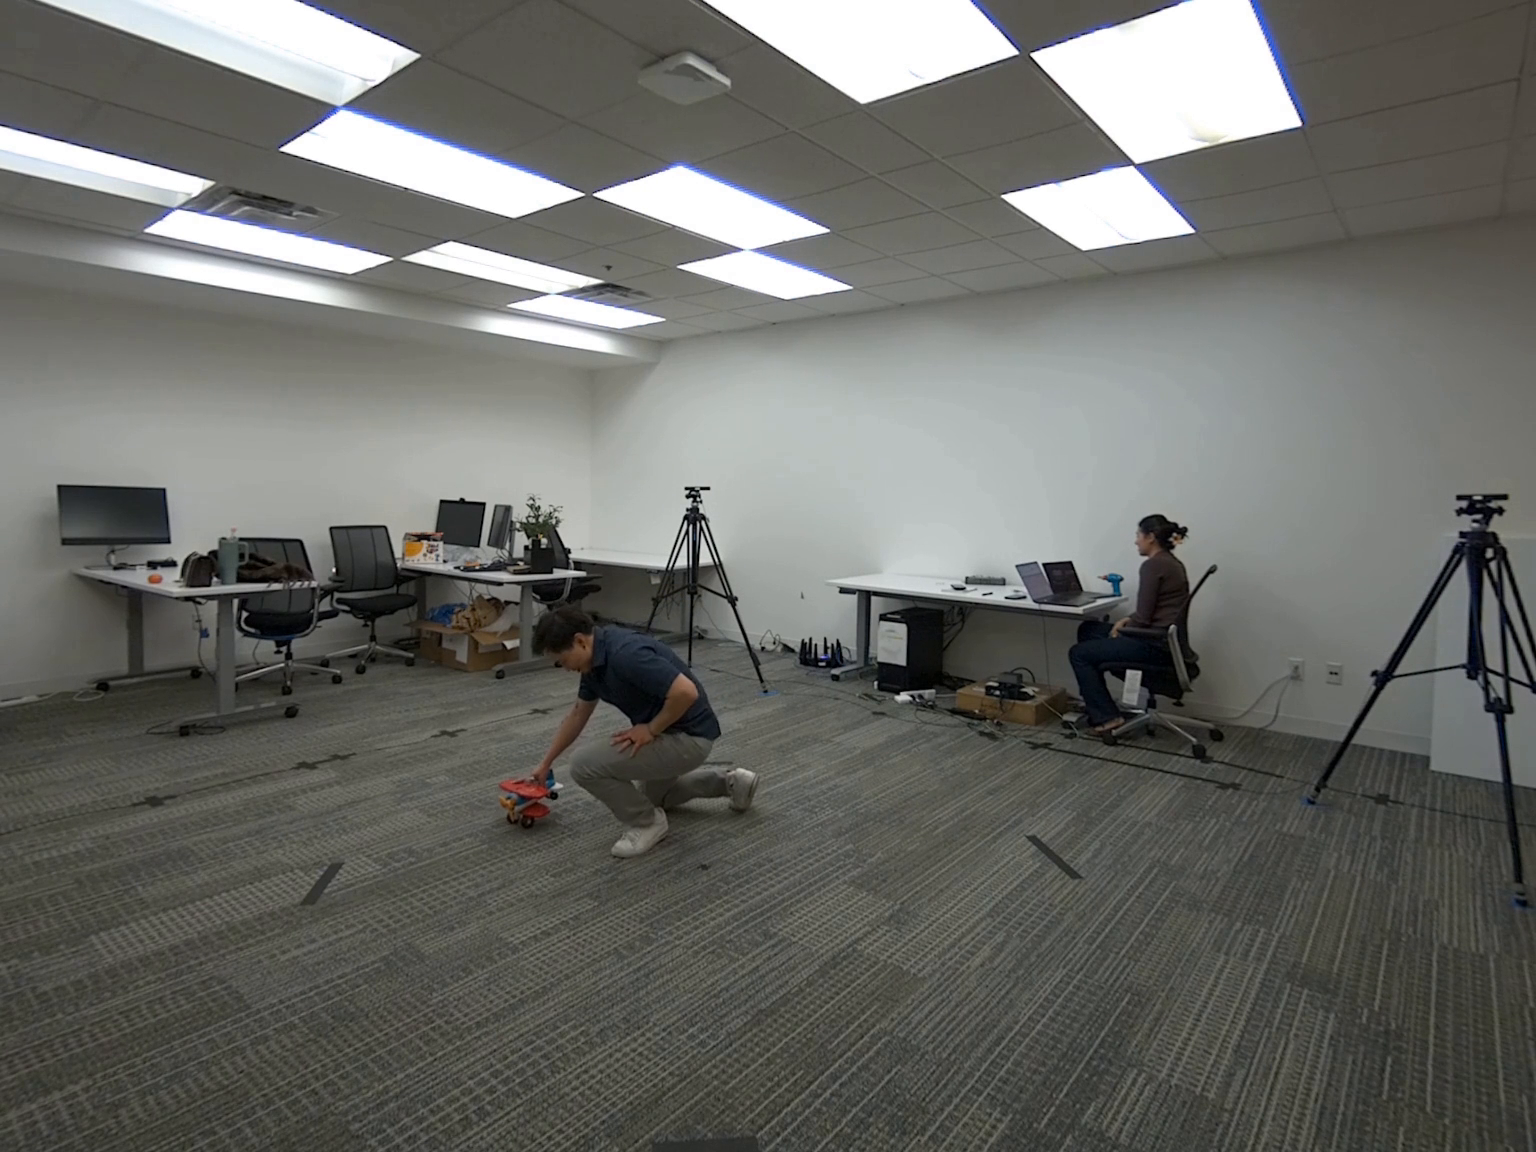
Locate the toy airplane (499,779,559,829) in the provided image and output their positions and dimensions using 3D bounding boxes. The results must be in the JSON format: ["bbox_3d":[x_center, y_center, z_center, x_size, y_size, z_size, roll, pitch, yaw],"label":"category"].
[{"bbox_3d":[-1.010,0.917,3.547,0.253,0.153,0.263,-9,22,8],"label":"toy airplane"}]
